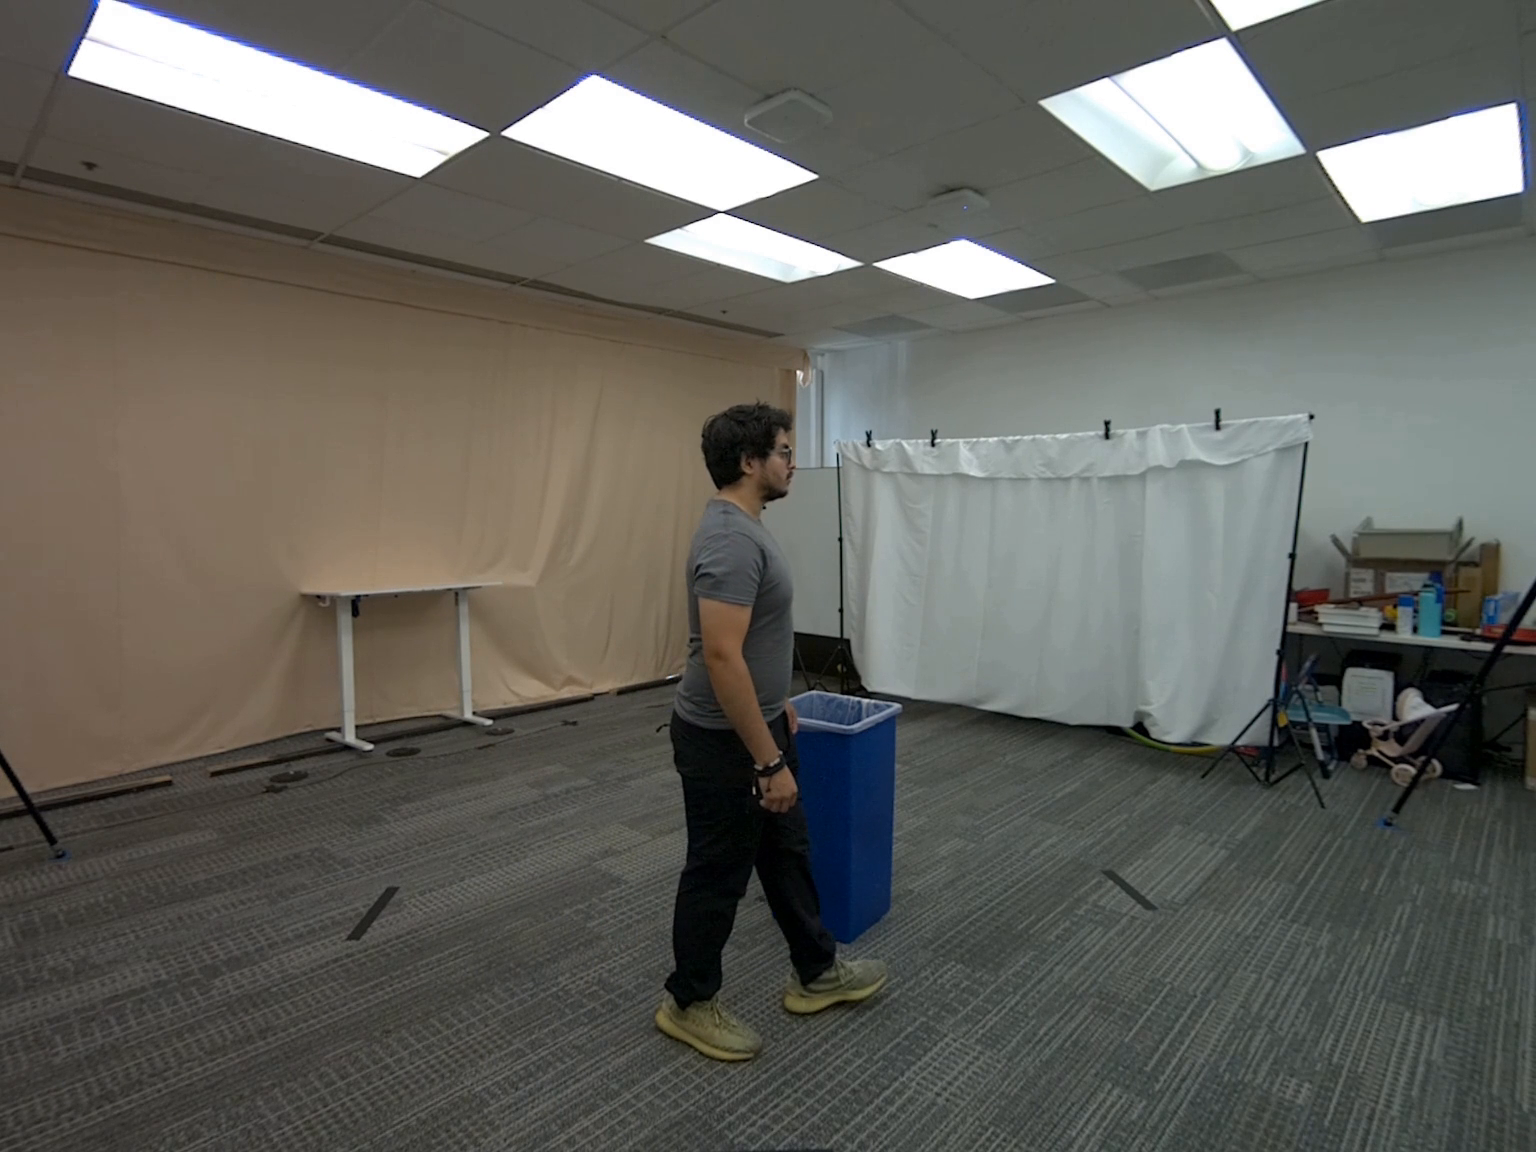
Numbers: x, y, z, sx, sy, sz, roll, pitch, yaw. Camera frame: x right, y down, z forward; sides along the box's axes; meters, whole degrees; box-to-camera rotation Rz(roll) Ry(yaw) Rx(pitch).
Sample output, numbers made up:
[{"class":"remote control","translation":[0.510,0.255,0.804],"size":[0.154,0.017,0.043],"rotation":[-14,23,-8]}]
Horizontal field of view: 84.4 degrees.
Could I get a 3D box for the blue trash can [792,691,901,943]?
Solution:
[{"class":"blue trash can","translation":[0.215,0.796,2.846],"size":[0.390,0.712,0.363],"rotation":[2,4,37]}]
